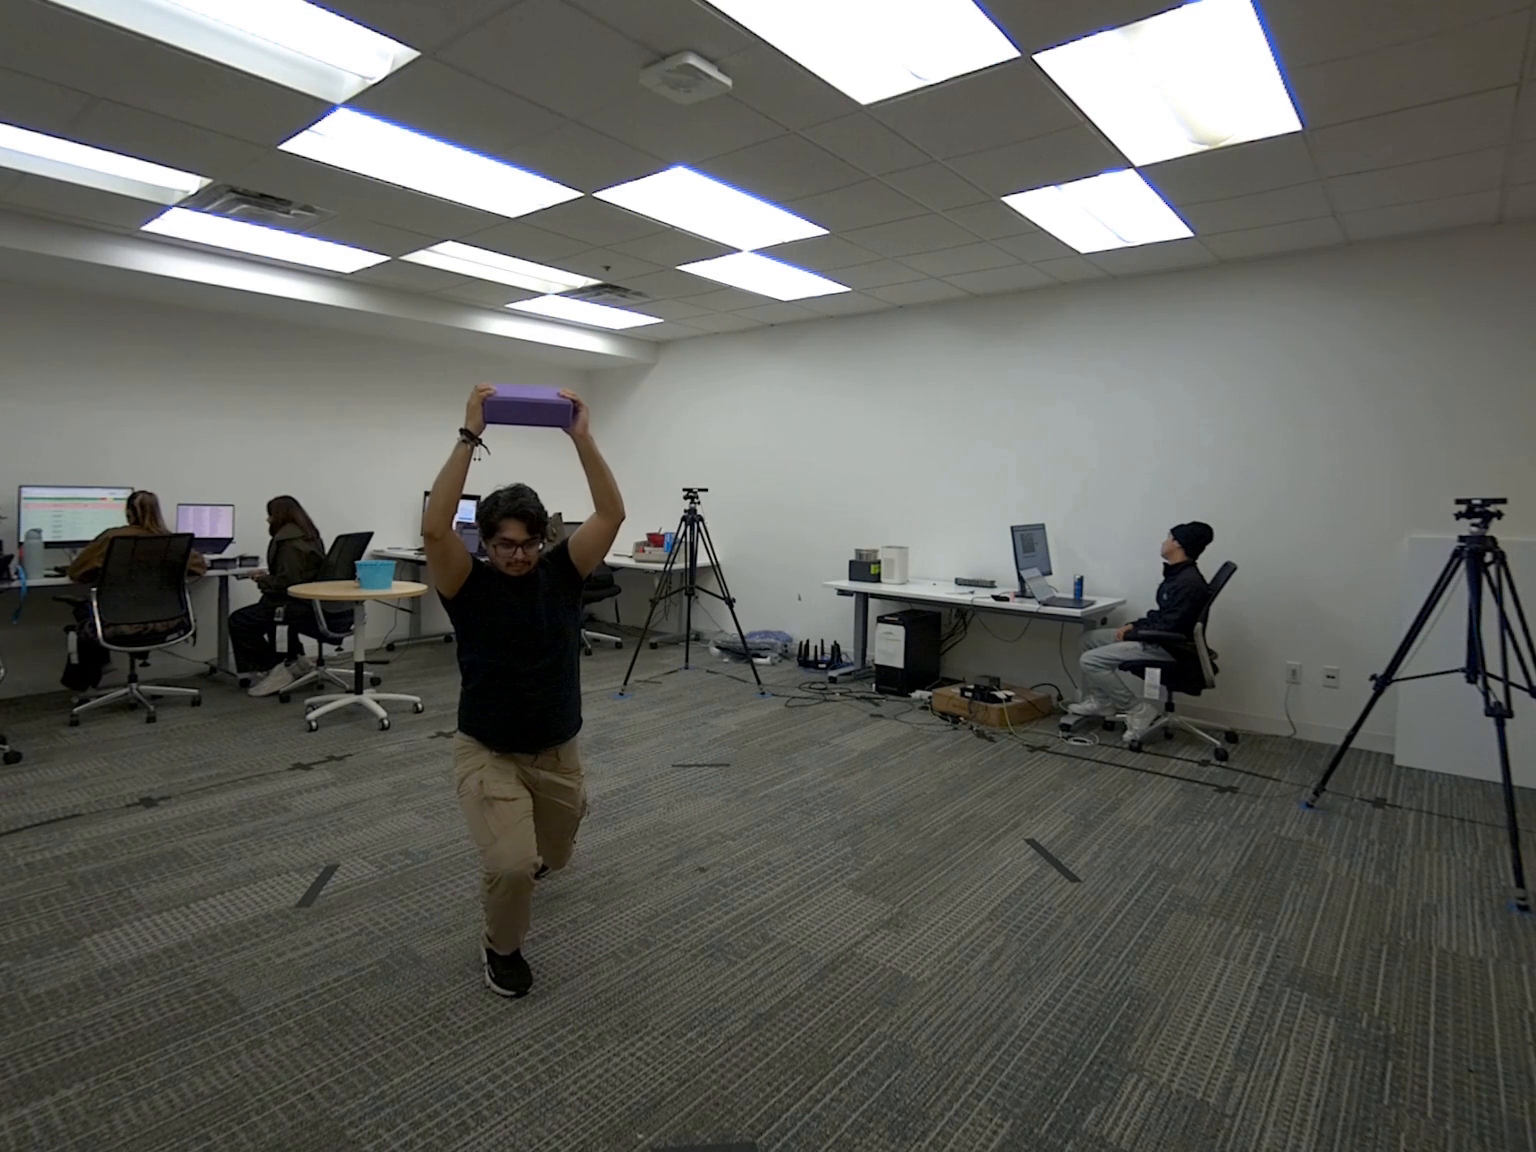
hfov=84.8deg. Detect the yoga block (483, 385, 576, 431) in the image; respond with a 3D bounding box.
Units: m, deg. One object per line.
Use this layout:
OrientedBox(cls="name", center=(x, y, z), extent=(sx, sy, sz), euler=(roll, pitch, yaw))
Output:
OrientedBox(cls="yoga block", center=(-0.655, -0.463, 2.261), extent=(0.225, 0.075, 0.154), euler=(-1, 24, -19))
